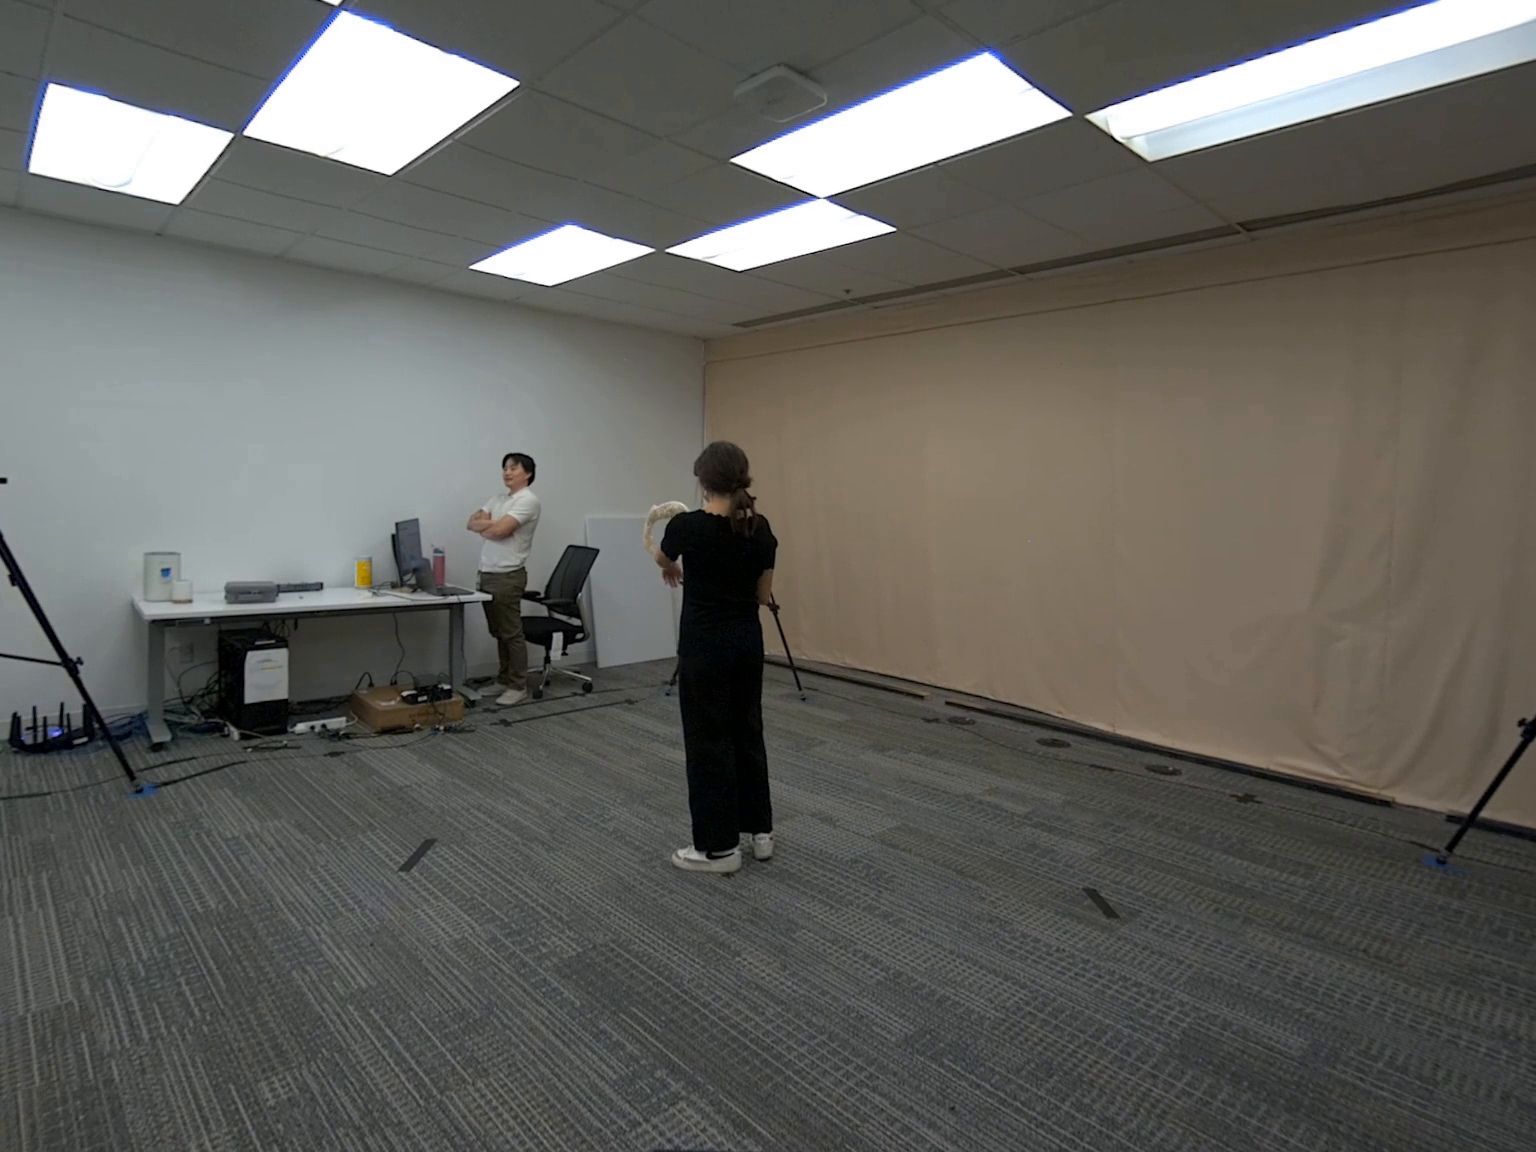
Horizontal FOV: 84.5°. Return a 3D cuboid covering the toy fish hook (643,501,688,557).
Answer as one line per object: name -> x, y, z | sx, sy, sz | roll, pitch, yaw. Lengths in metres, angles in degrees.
toy fish hook -> -0.377, -0.043, 3.403 | 0.226, 0.509, 0.047 | -13, -6, 14
